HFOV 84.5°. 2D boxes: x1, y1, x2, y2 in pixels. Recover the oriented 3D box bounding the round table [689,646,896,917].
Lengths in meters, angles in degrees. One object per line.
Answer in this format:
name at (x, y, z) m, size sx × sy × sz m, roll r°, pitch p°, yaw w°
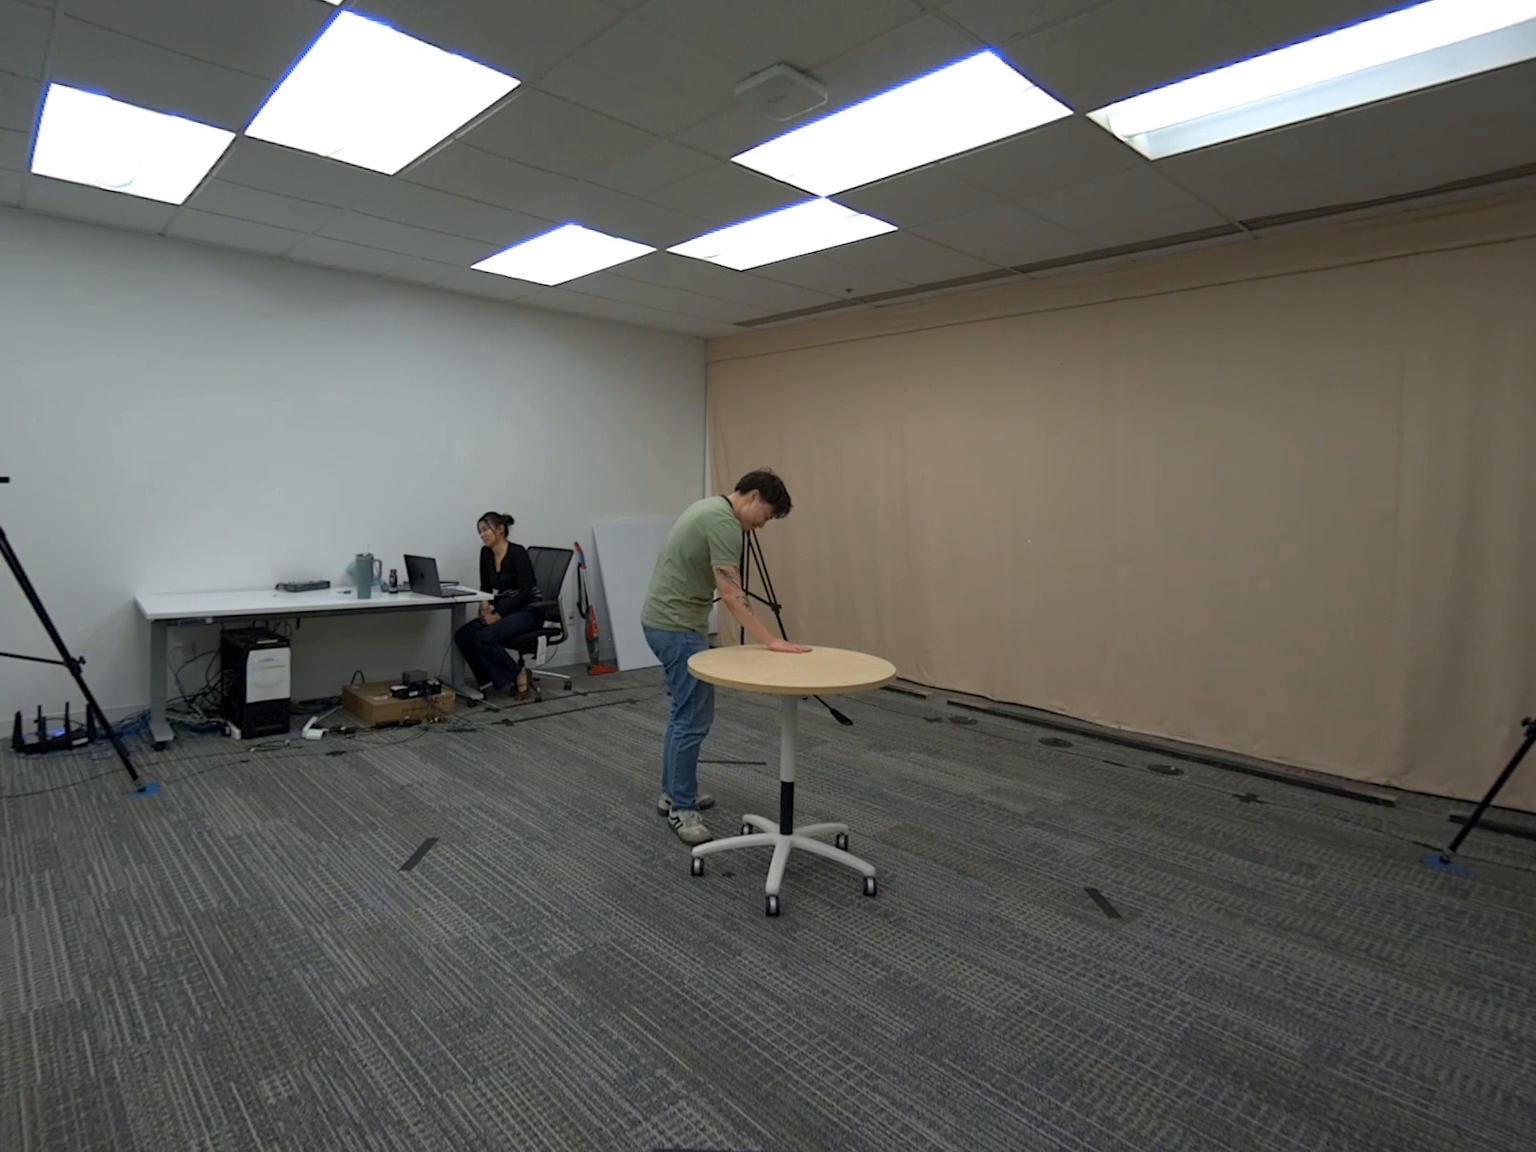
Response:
round table at (0.071, 0.717, 3.132) m, size 0.763 × 0.792 × 0.766 m, roll 1°, pitch 4°, yaw -1°
